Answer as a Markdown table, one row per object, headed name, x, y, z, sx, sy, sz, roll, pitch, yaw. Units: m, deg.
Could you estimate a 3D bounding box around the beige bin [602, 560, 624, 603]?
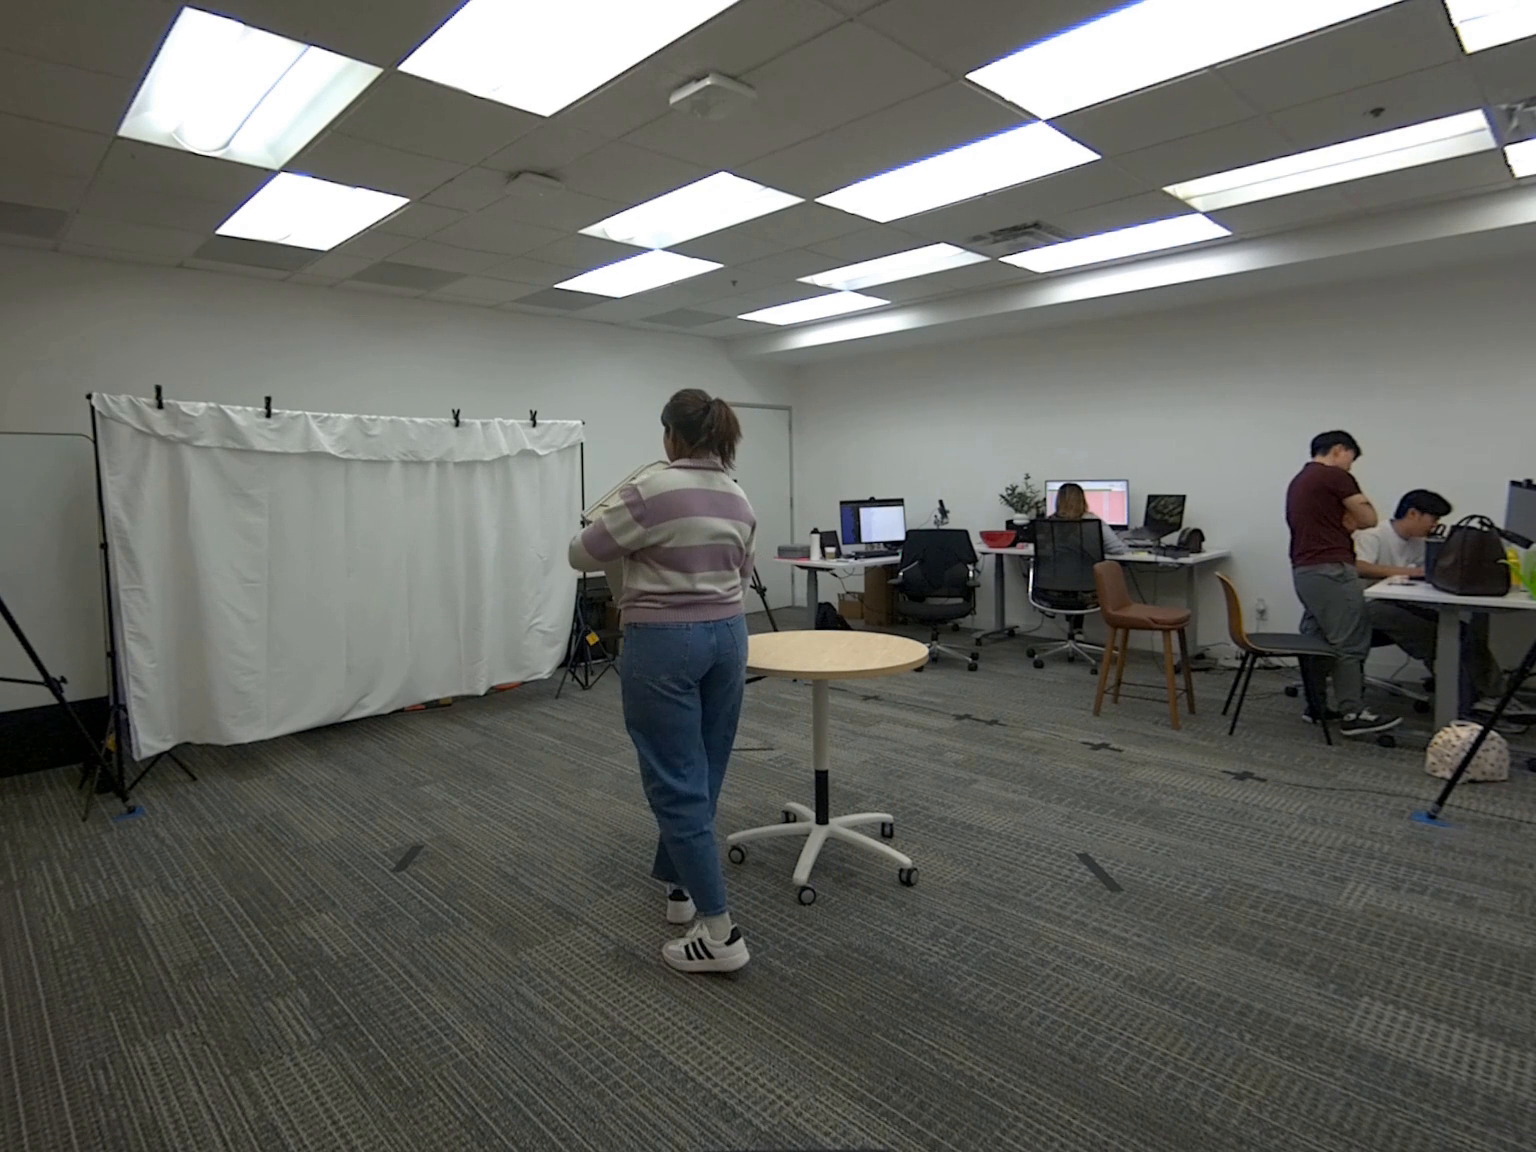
| name | x | y | z | sx | sy | sz | roll | pitch | yaw |
| --- | --- | --- | --- | --- | --- | --- | --- | --- | --- |
| beige bin | -0.403 | -0.130 | 2.976 | 0.195 | 0.409 | 0.376 | 19 | 48 | 34 |
